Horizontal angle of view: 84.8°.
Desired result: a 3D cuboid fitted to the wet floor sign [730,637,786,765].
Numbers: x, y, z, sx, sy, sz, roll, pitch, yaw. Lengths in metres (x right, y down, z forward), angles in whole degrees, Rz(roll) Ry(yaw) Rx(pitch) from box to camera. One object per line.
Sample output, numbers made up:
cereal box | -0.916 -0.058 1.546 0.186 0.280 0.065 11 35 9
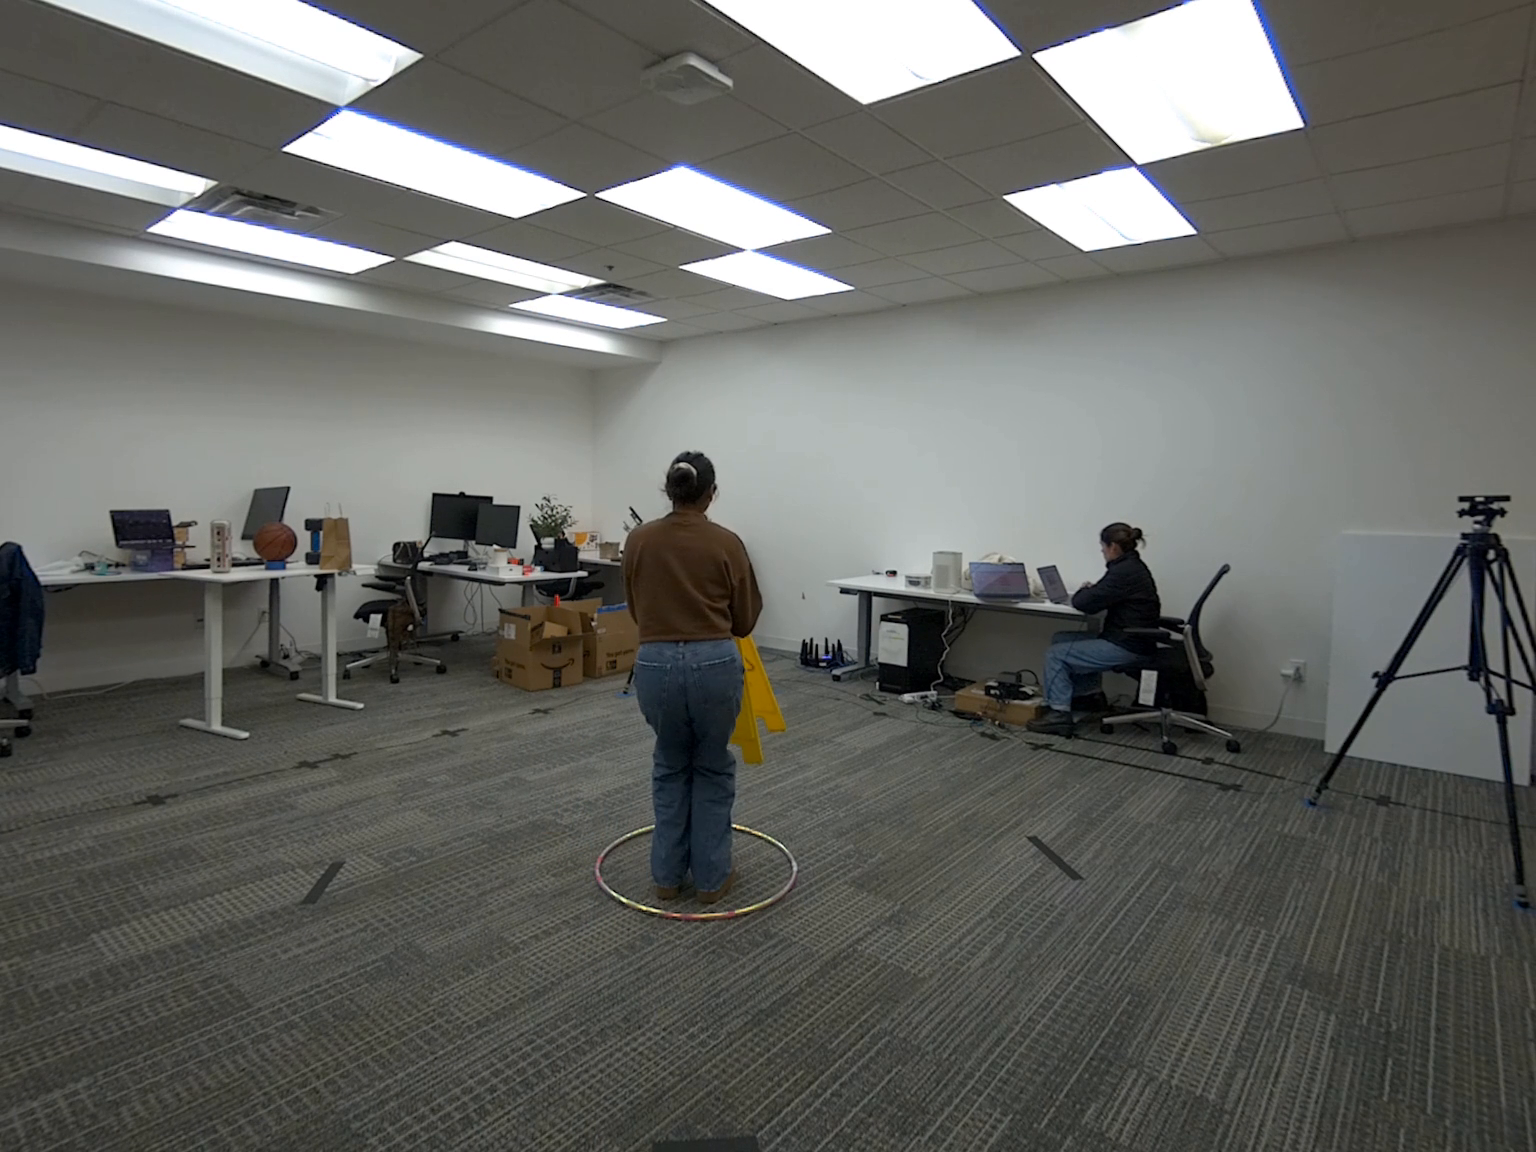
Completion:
wet floor sign | -0.182 0.333 3.257 0.289 0.638 0.287 -5 12 25
